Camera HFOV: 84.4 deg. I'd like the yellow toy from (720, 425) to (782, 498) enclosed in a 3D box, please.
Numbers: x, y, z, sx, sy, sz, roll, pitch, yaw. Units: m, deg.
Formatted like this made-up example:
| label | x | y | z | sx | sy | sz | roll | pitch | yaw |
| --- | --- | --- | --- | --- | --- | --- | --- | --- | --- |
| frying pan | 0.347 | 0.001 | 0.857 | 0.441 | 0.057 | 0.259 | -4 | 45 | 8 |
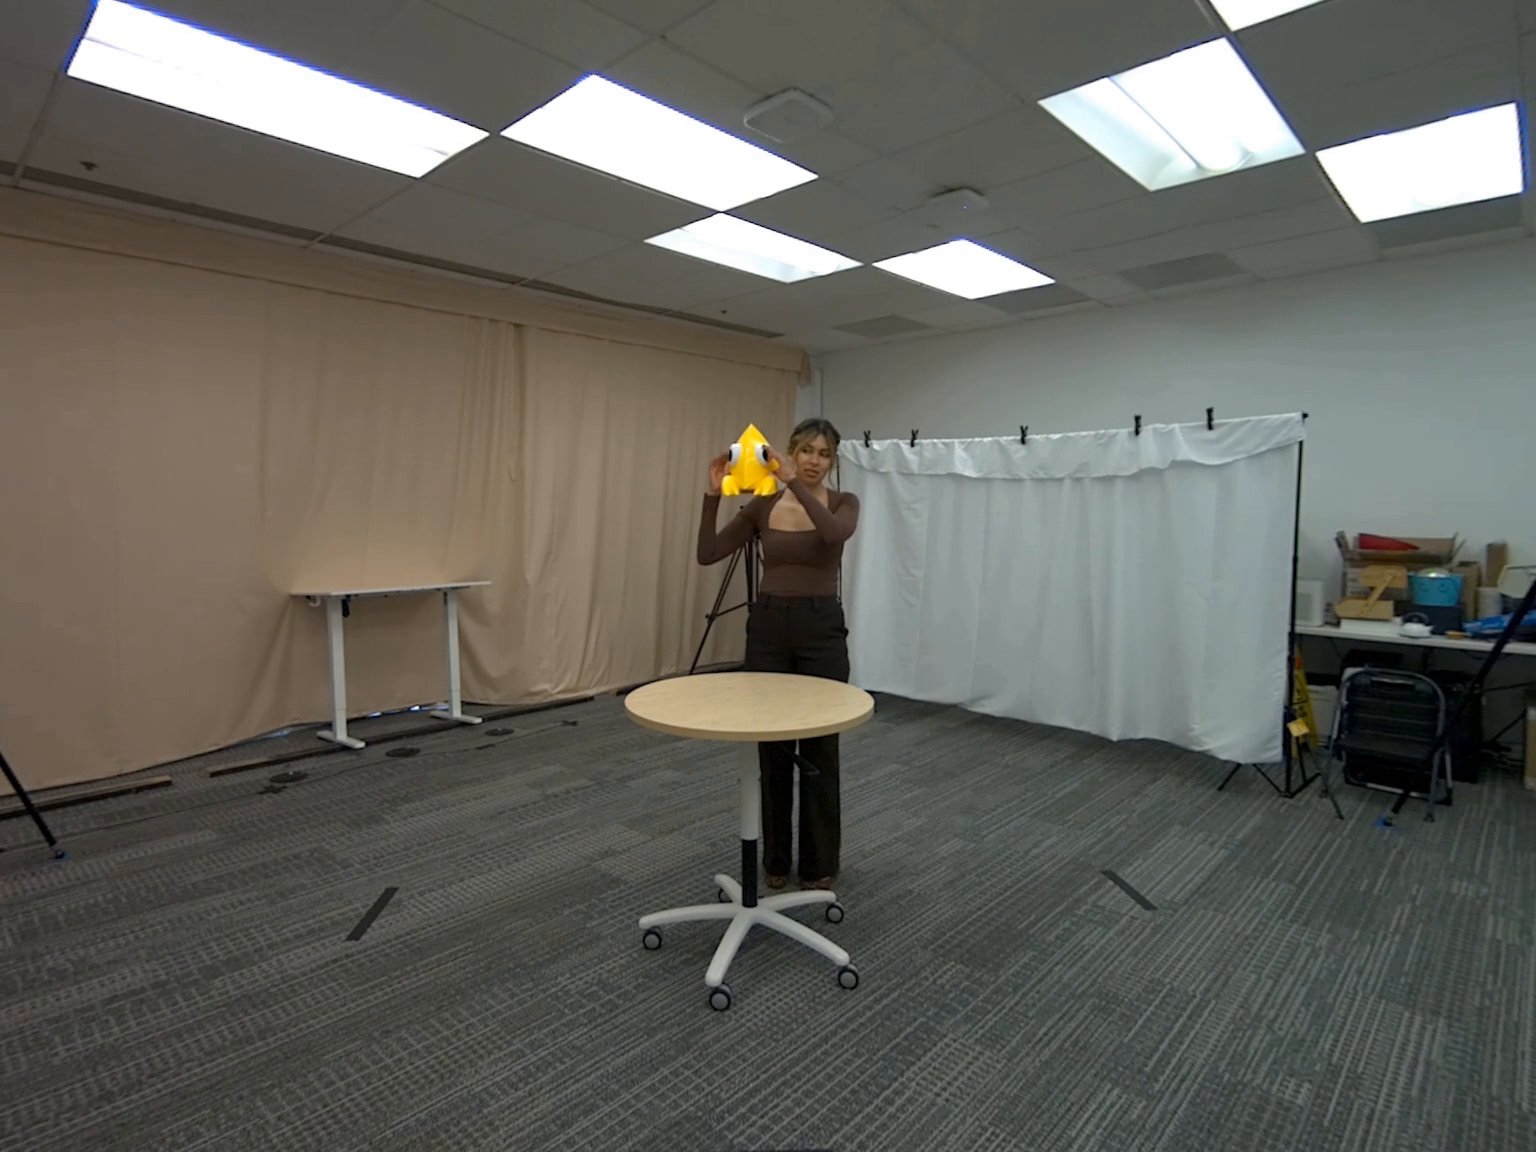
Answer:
| label | x | y | z | sx | sy | sz | roll | pitch | yaw |
| --- | --- | --- | --- | --- | --- | --- | --- | --- | --- |
| yellow toy | -0.059 | -0.410 | 2.970 | 0.208 | 0.228 | 0.192 | 3 | 15 | 13 |
